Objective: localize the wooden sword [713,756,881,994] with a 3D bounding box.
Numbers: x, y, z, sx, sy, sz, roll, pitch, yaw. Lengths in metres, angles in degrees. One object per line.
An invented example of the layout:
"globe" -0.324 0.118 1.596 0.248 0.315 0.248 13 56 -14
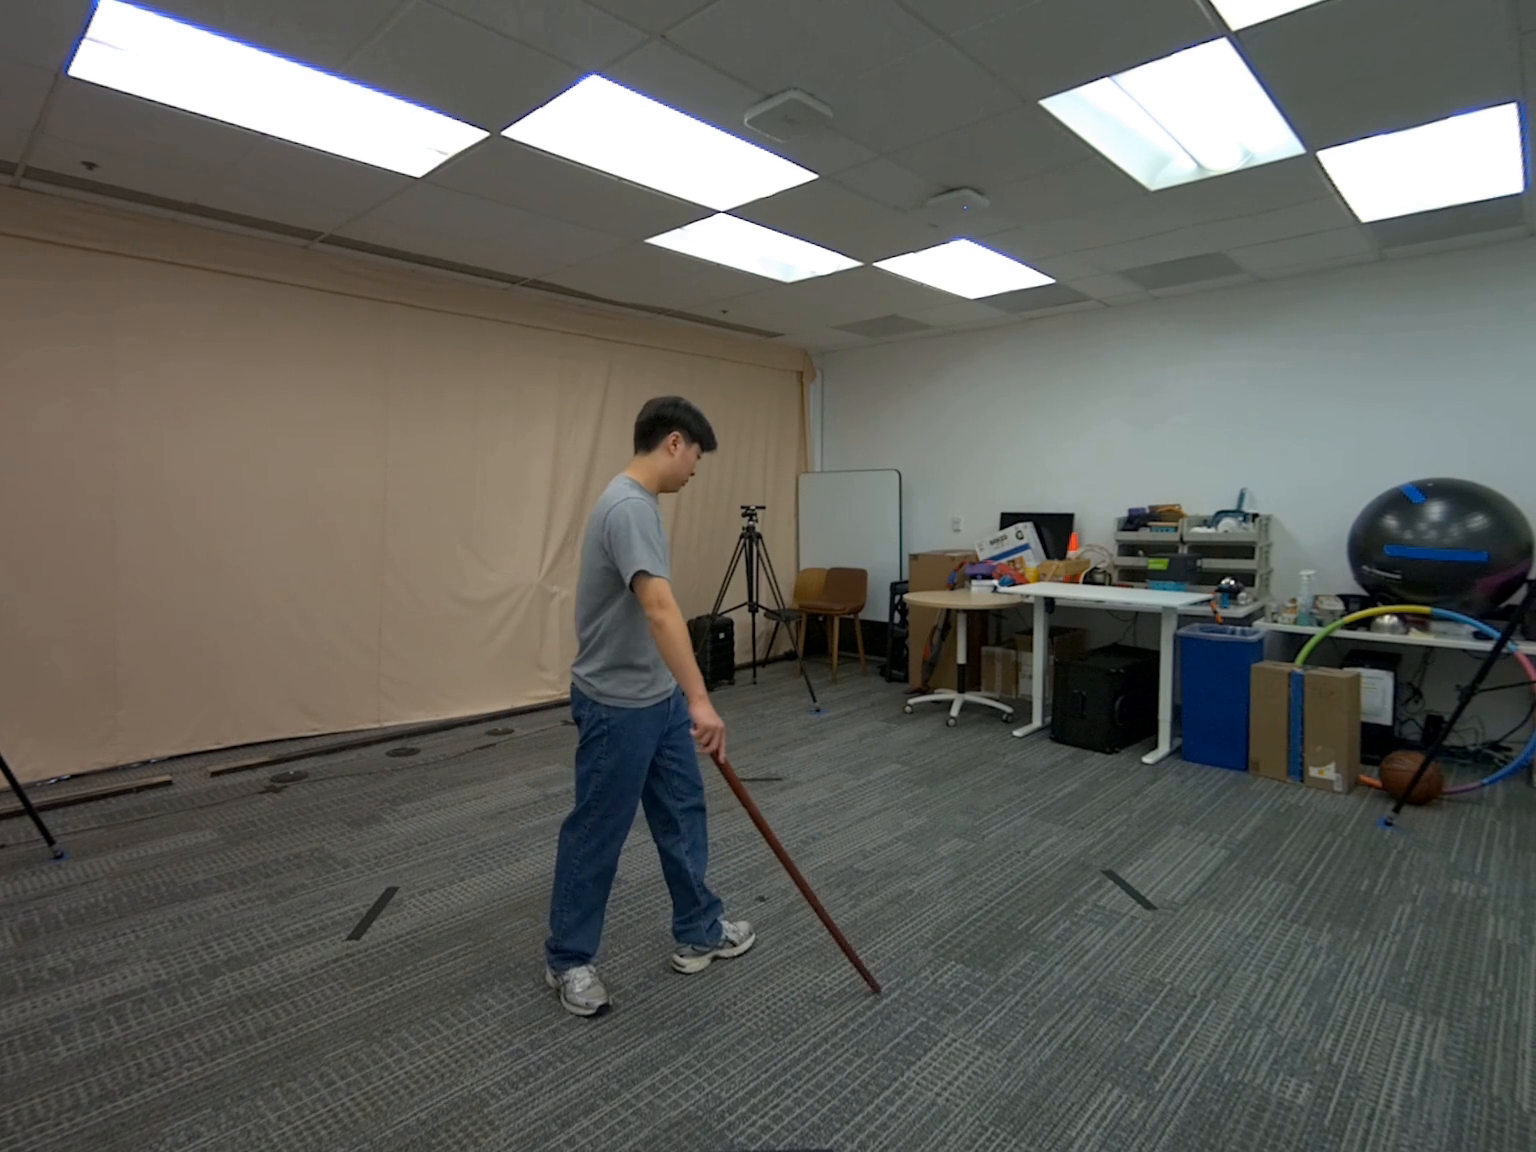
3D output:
"wooden sword" 0.071 0.793 2.255 0.024 1.005 0.052 -33 18 -6
